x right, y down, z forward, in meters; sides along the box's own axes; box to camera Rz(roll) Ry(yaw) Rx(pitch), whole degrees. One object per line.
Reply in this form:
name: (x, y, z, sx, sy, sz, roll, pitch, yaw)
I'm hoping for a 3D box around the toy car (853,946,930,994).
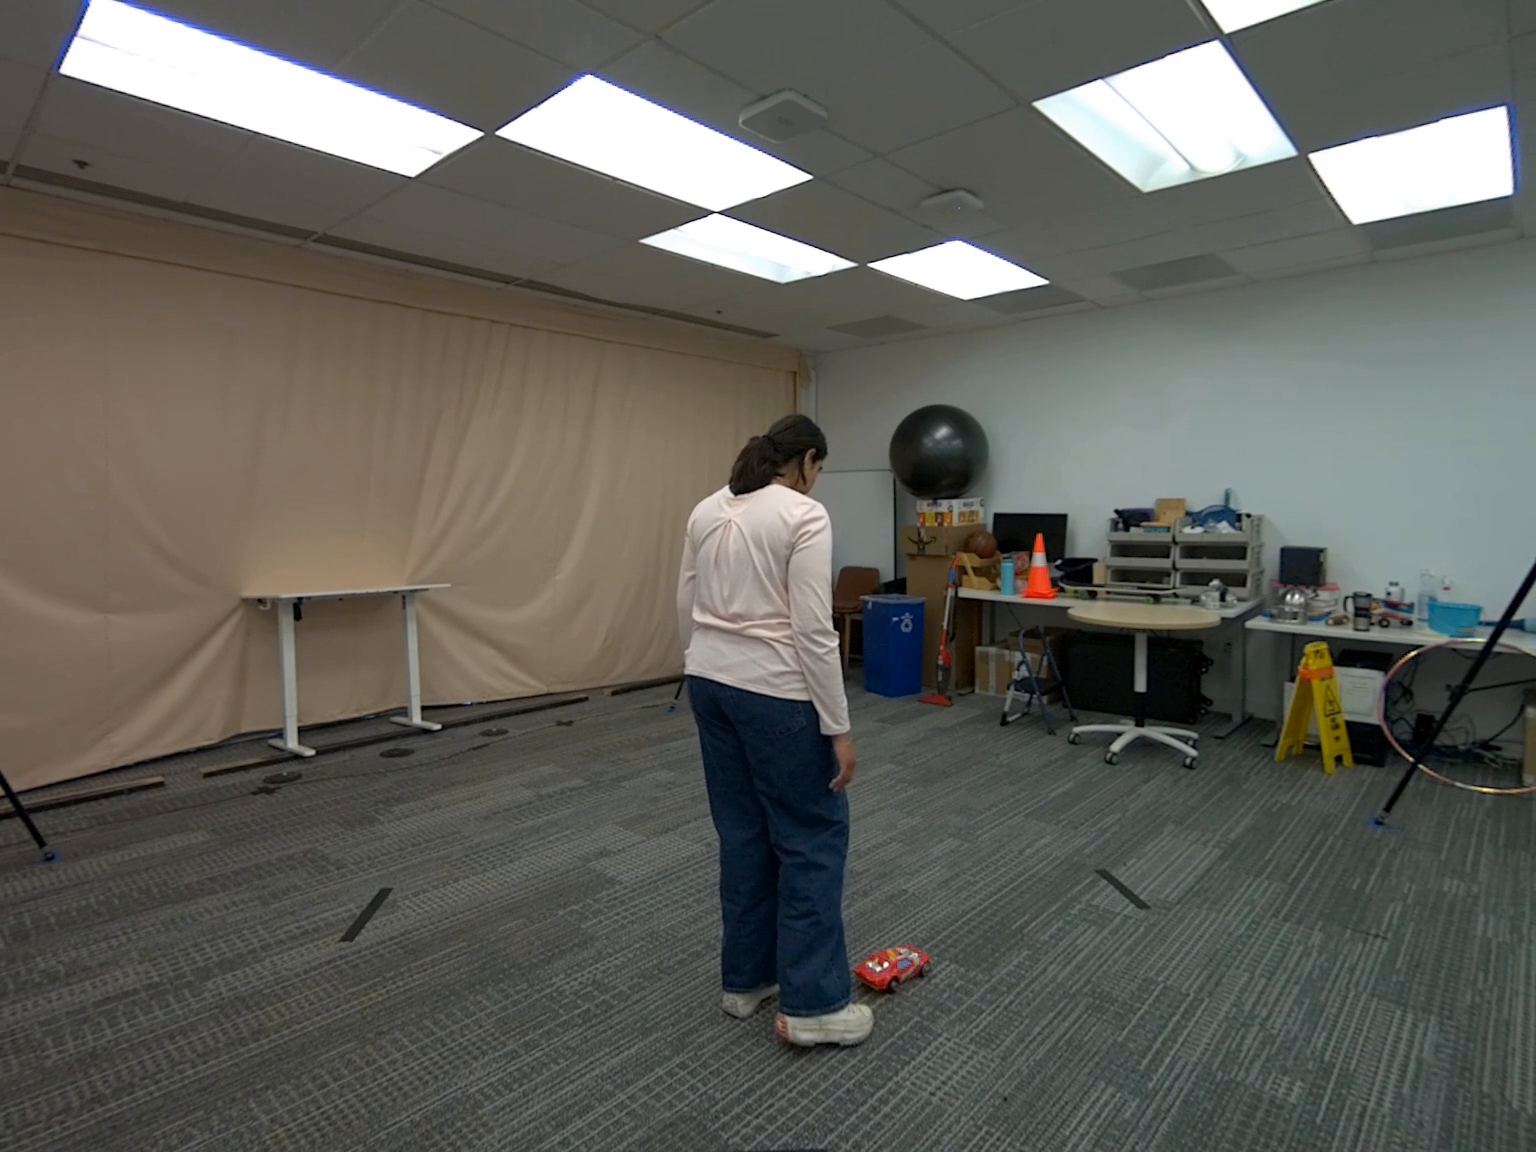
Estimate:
toy car: (0.367, 1.156, 2.471, 0.246, 0.083, 0.134, 11, -2, -37)
